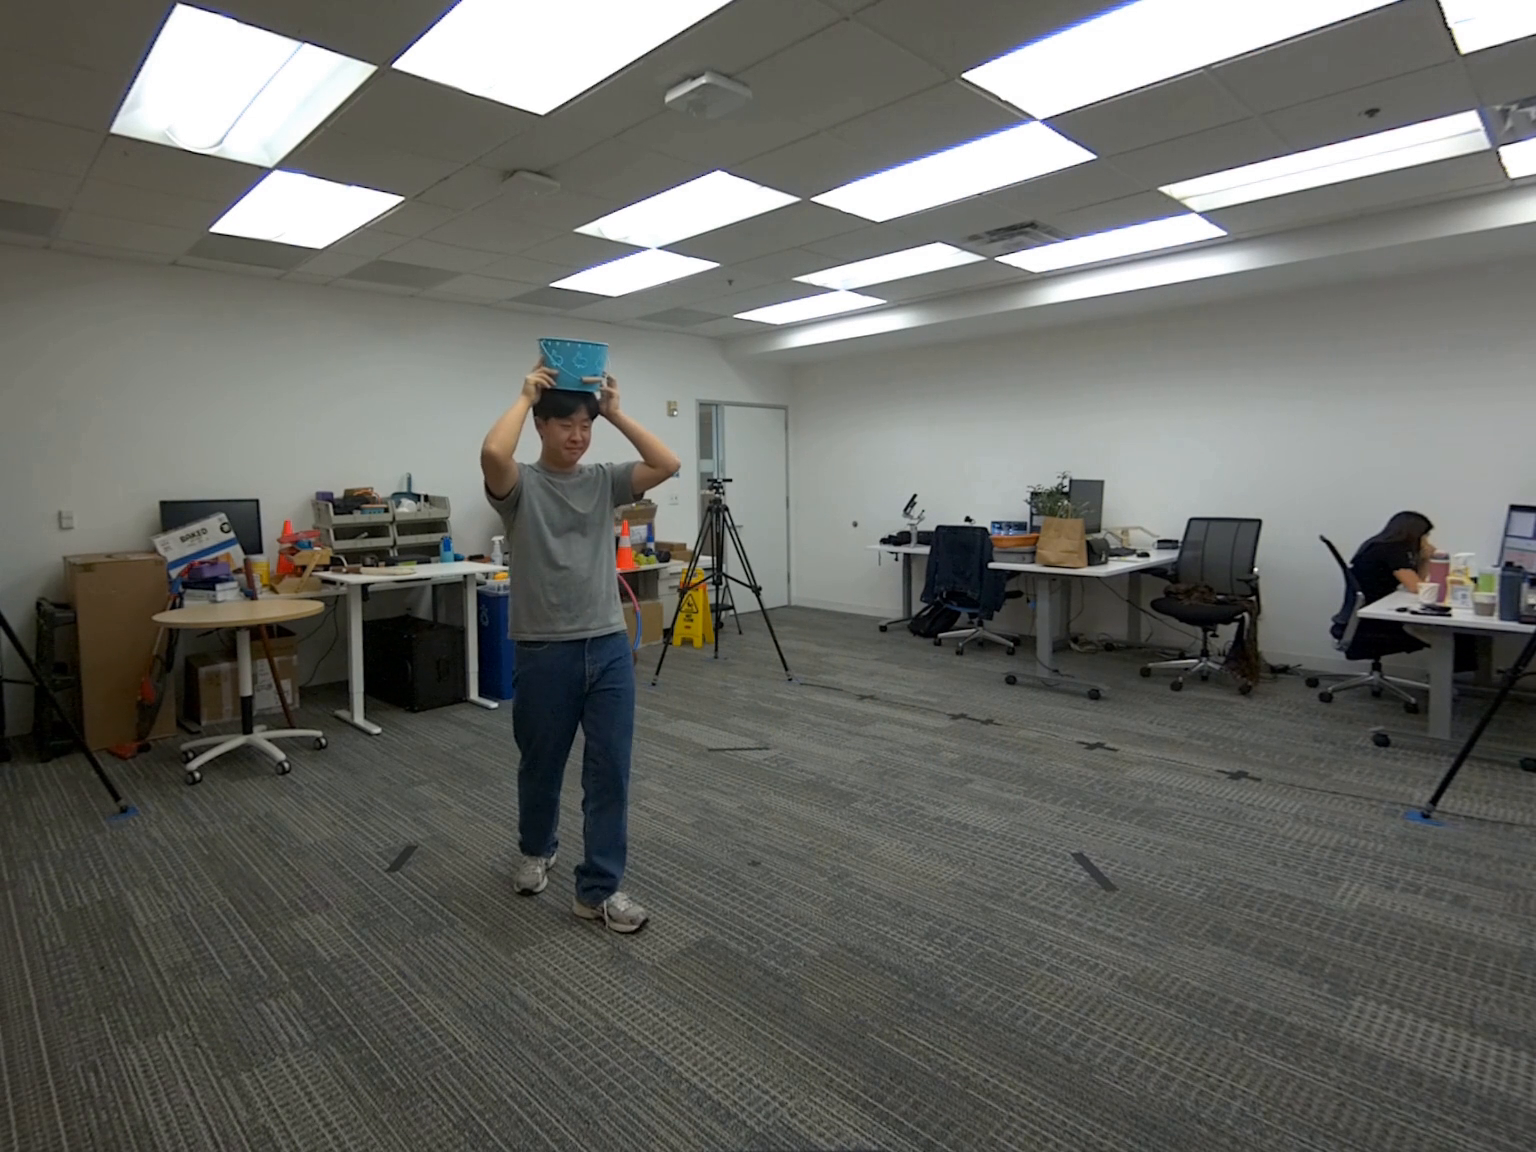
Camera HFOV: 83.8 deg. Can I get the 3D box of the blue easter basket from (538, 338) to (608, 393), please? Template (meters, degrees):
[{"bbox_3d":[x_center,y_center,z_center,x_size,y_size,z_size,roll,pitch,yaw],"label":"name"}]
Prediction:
[{"bbox_3d":[-0.639,-0.676,2.743,0.243,0.155,0.246,2,9,-2],"label":"blue easter basket"}]
